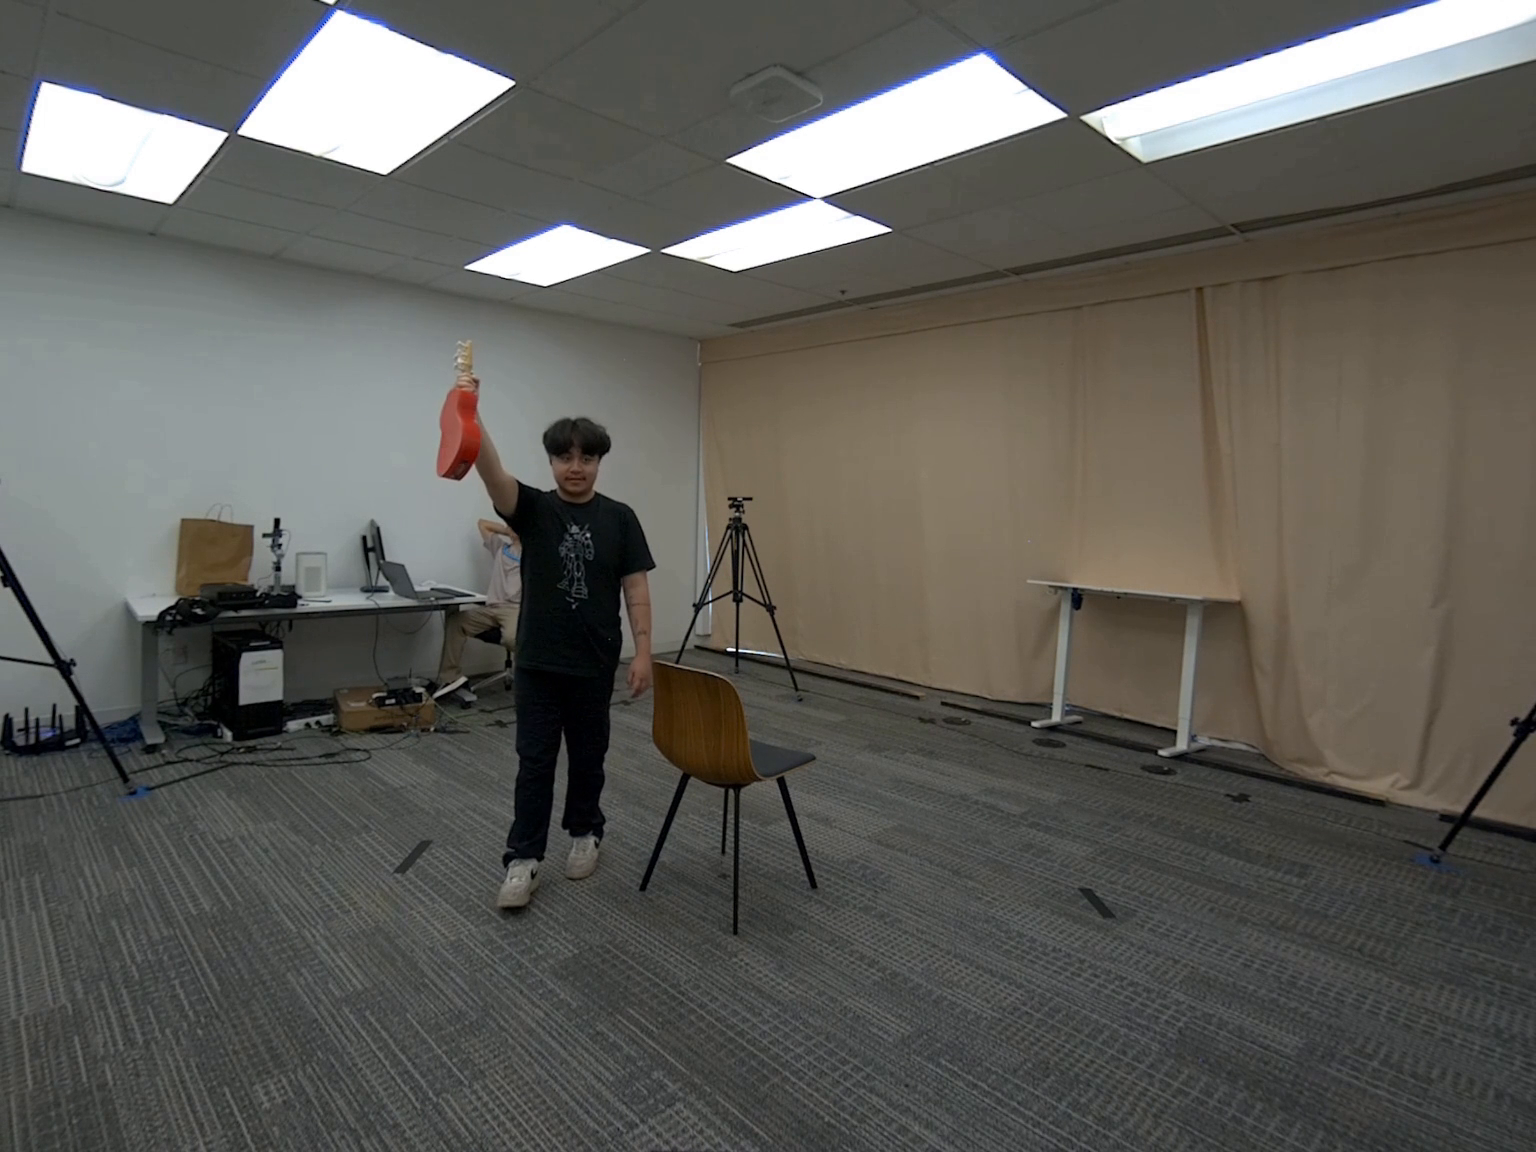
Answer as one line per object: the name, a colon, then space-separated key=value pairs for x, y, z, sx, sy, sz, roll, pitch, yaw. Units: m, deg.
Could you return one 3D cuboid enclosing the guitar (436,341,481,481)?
guitar: x=-0.942 y=-0.503 z=2.545 sx=0.069 sy=0.511 sz=0.193 roll=14 pitch=-46 yaw=-37
